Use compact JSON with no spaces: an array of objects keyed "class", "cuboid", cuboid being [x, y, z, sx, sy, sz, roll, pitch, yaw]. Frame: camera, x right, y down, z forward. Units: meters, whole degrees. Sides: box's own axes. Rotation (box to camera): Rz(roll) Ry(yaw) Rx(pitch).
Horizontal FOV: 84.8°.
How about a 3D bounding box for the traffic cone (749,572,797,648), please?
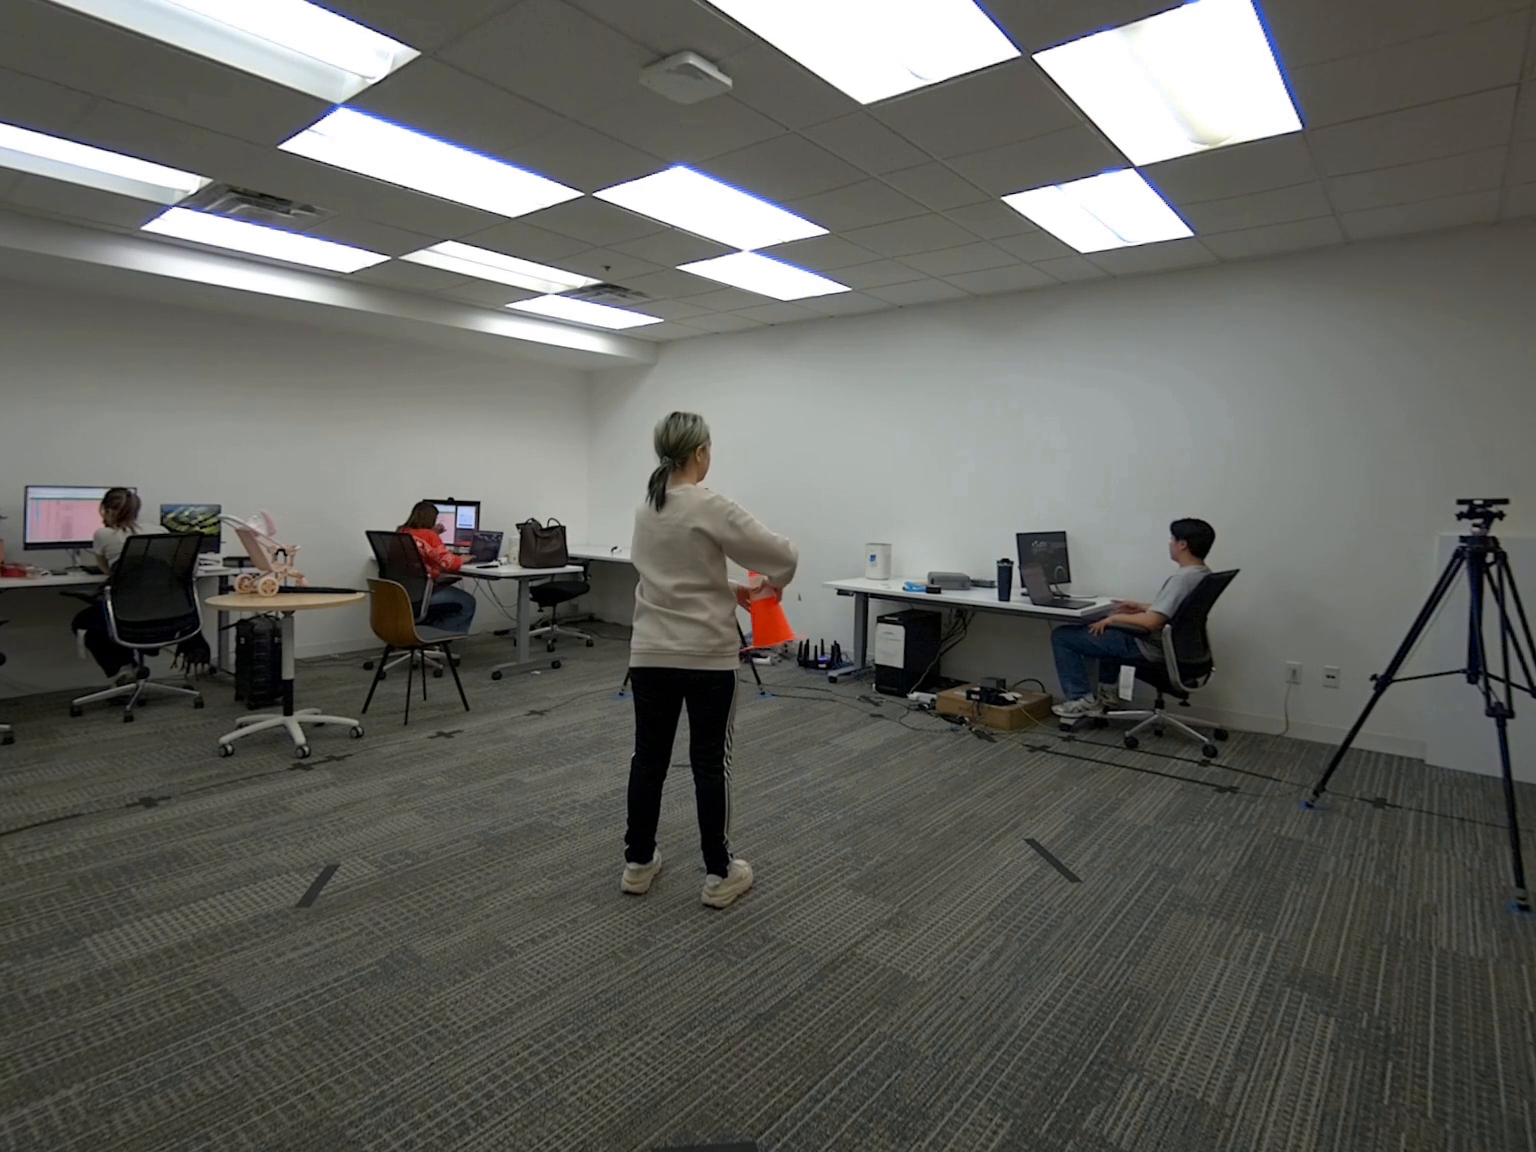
[{"class":"traffic cone","cuboid":[-0.039,0.053,3.167,0.210,0.385,0.198,-16,-3,44]}]
